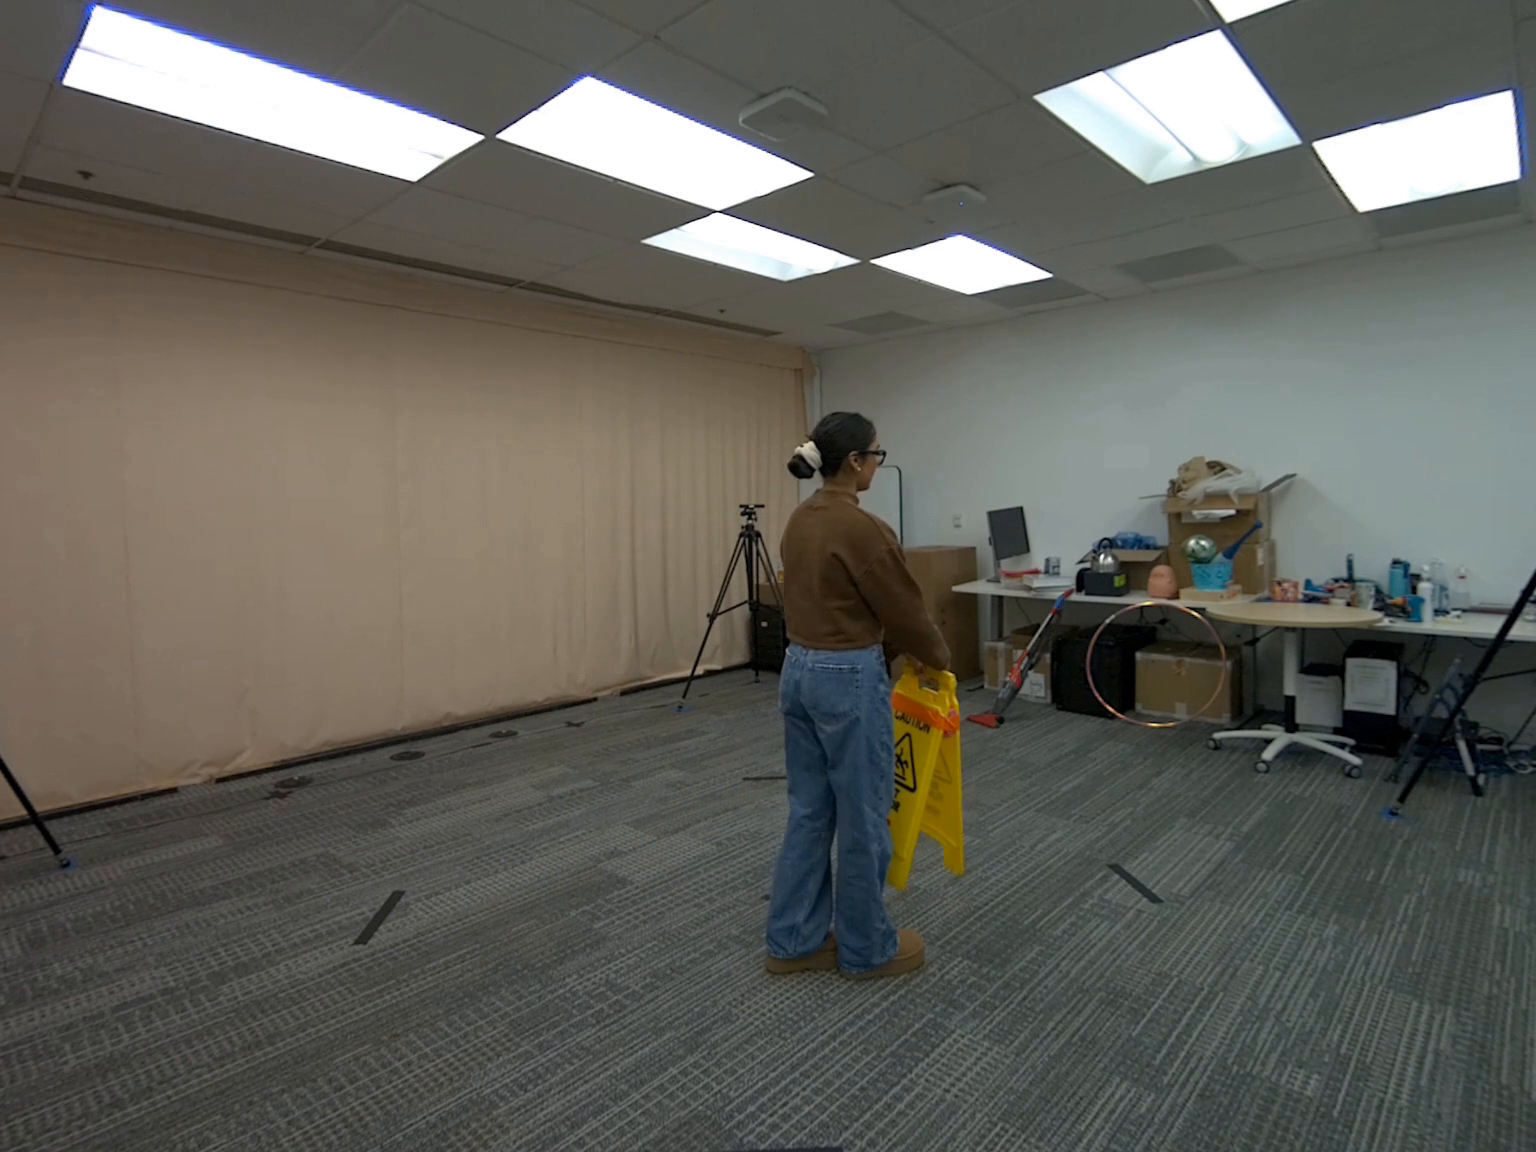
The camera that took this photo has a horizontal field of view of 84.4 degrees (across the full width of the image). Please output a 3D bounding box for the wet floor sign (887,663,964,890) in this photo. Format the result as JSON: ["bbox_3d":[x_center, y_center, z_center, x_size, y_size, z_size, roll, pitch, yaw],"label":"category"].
[{"bbox_3d":[0.469,0.600,2.649,0.281,0.644,0.292,2,7,-34],"label":"wet floor sign"}]
